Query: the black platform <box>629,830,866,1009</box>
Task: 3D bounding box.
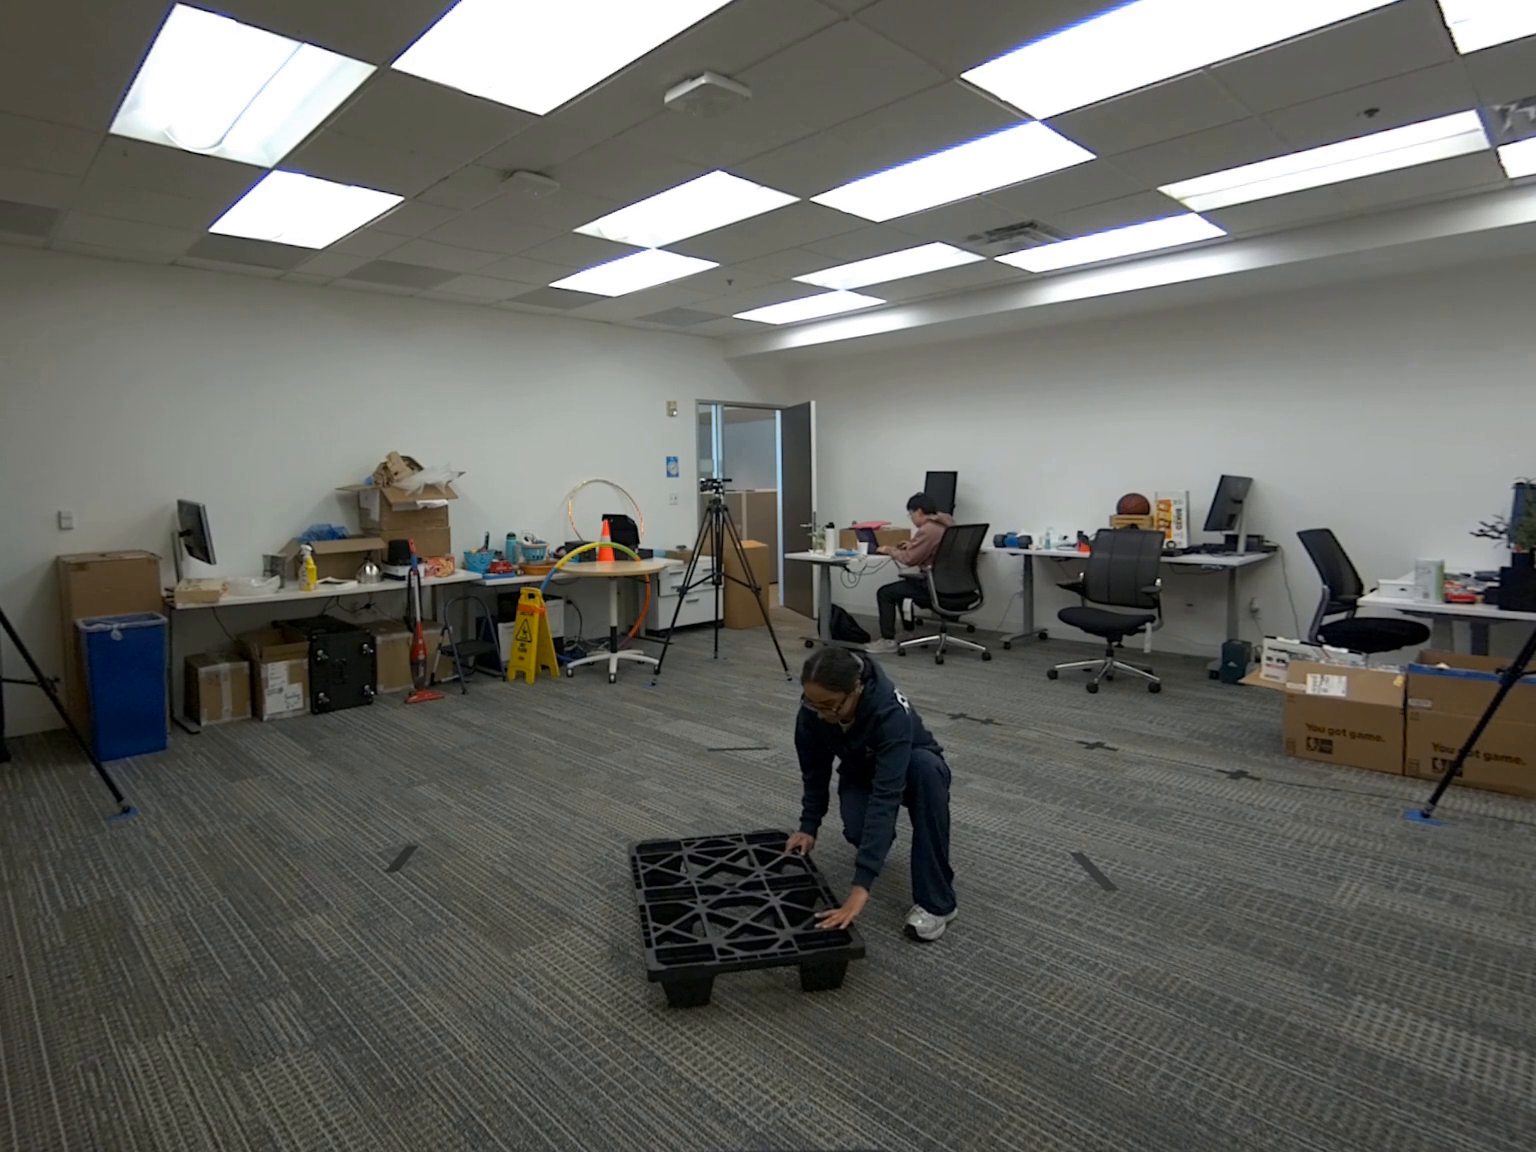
[{"bbox_3d":[-0.101,1.027,2.659,0.599,0.142,0.818,-2,7,-12],"label":"black platform"}]
